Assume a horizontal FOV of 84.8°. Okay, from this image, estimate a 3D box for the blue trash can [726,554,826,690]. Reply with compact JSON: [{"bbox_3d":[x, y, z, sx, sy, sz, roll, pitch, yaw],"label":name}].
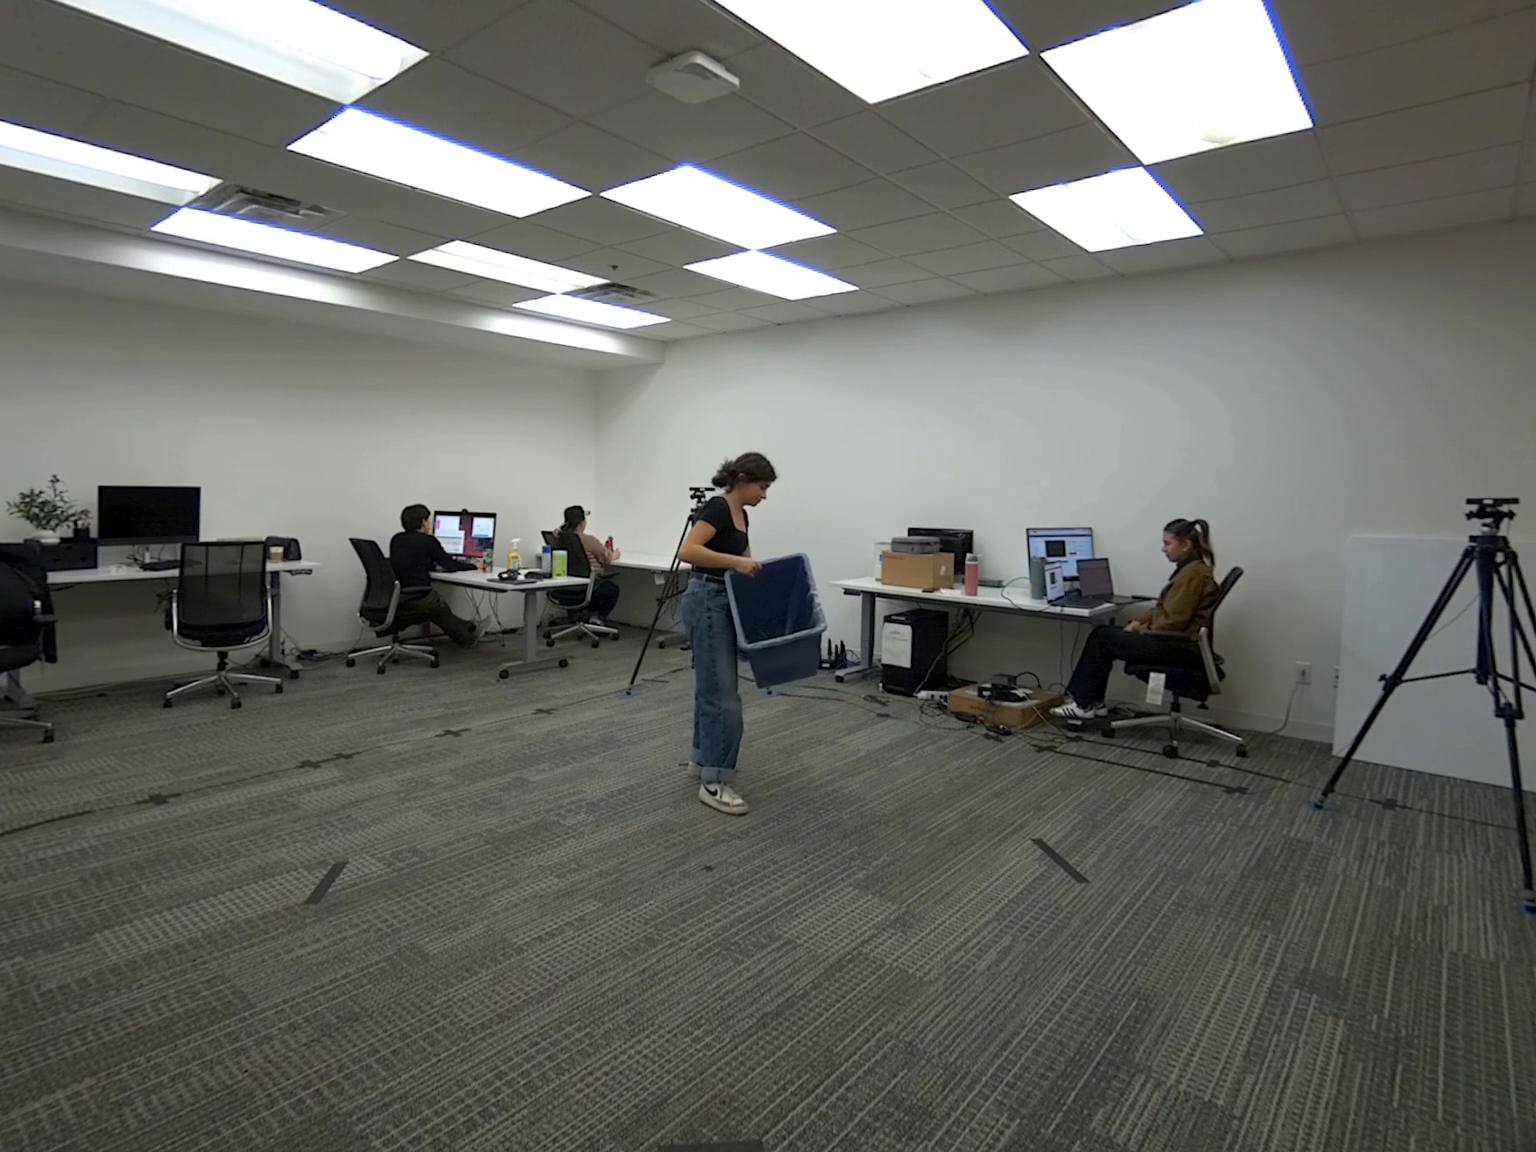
[{"bbox_3d":[0.049,0.238,3.858,0.377,0.385,0.694,-14,-25,-3],"label":"blue trash can"}]
